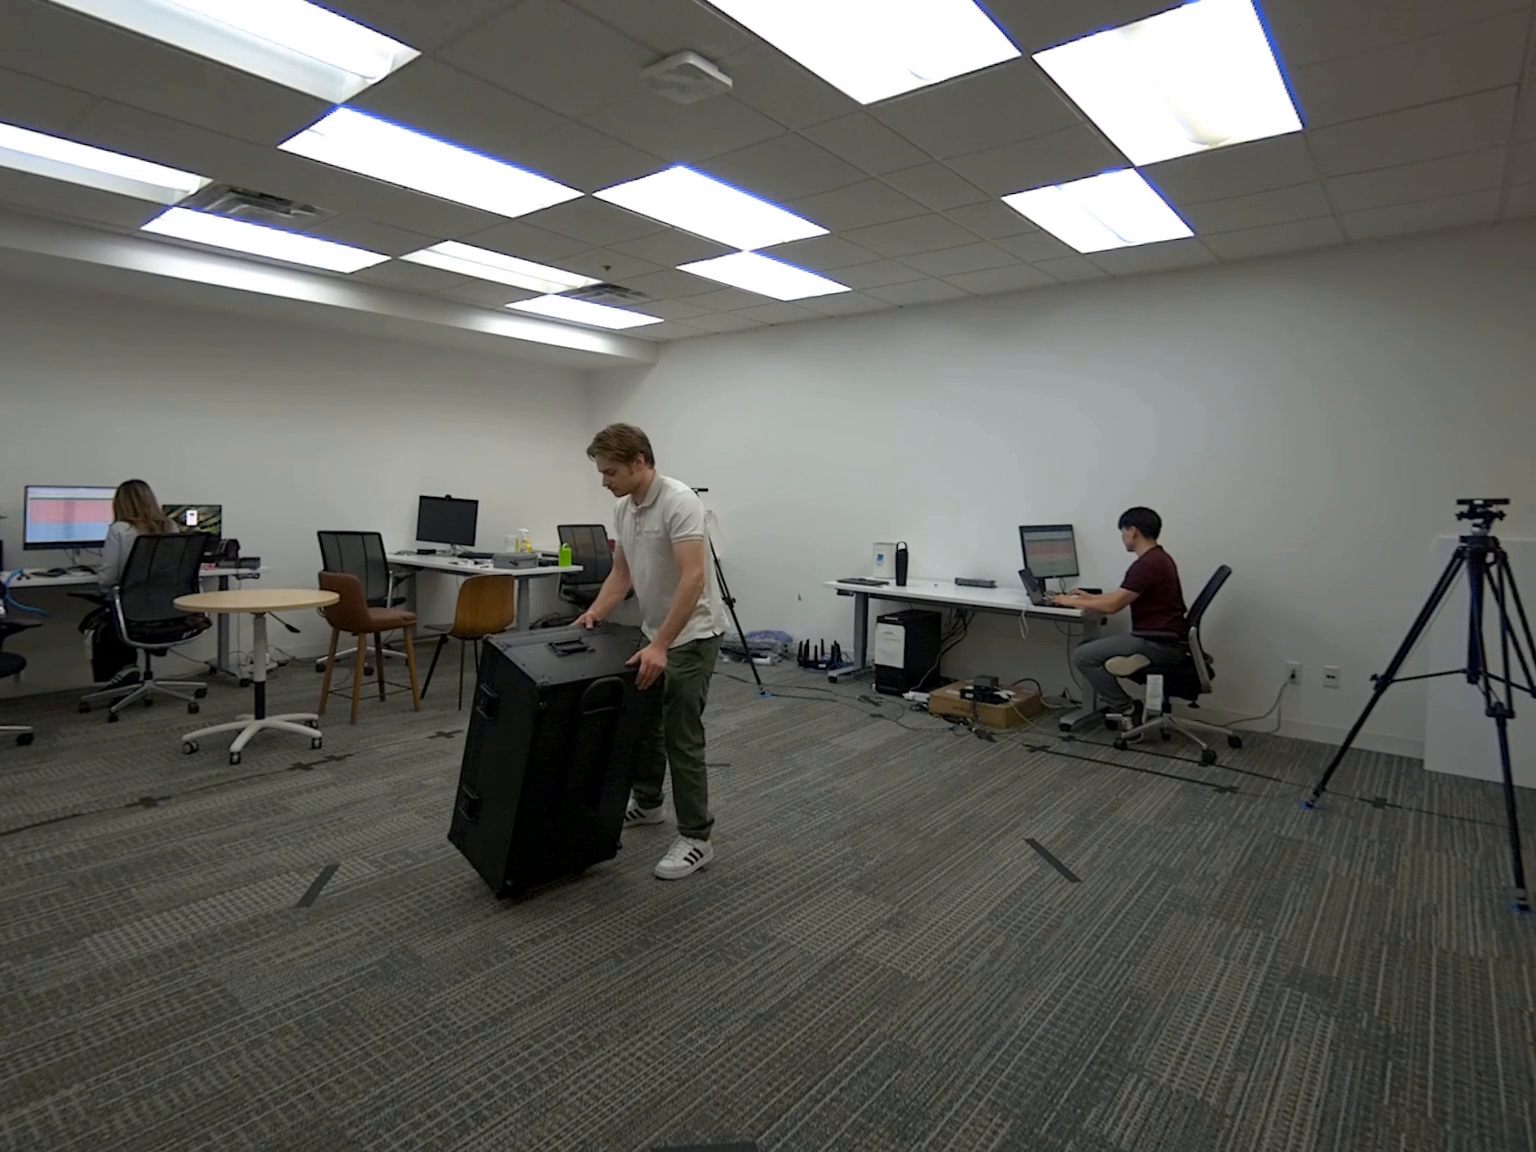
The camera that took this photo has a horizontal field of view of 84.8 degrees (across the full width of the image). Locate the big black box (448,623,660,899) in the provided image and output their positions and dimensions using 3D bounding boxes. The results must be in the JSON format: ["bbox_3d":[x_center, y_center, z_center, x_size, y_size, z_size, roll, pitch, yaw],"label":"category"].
[{"bbox_3d":[-0.752,0.640,2.924,0.413,0.853,0.505,27,20,39],"label":"big black box"}]
